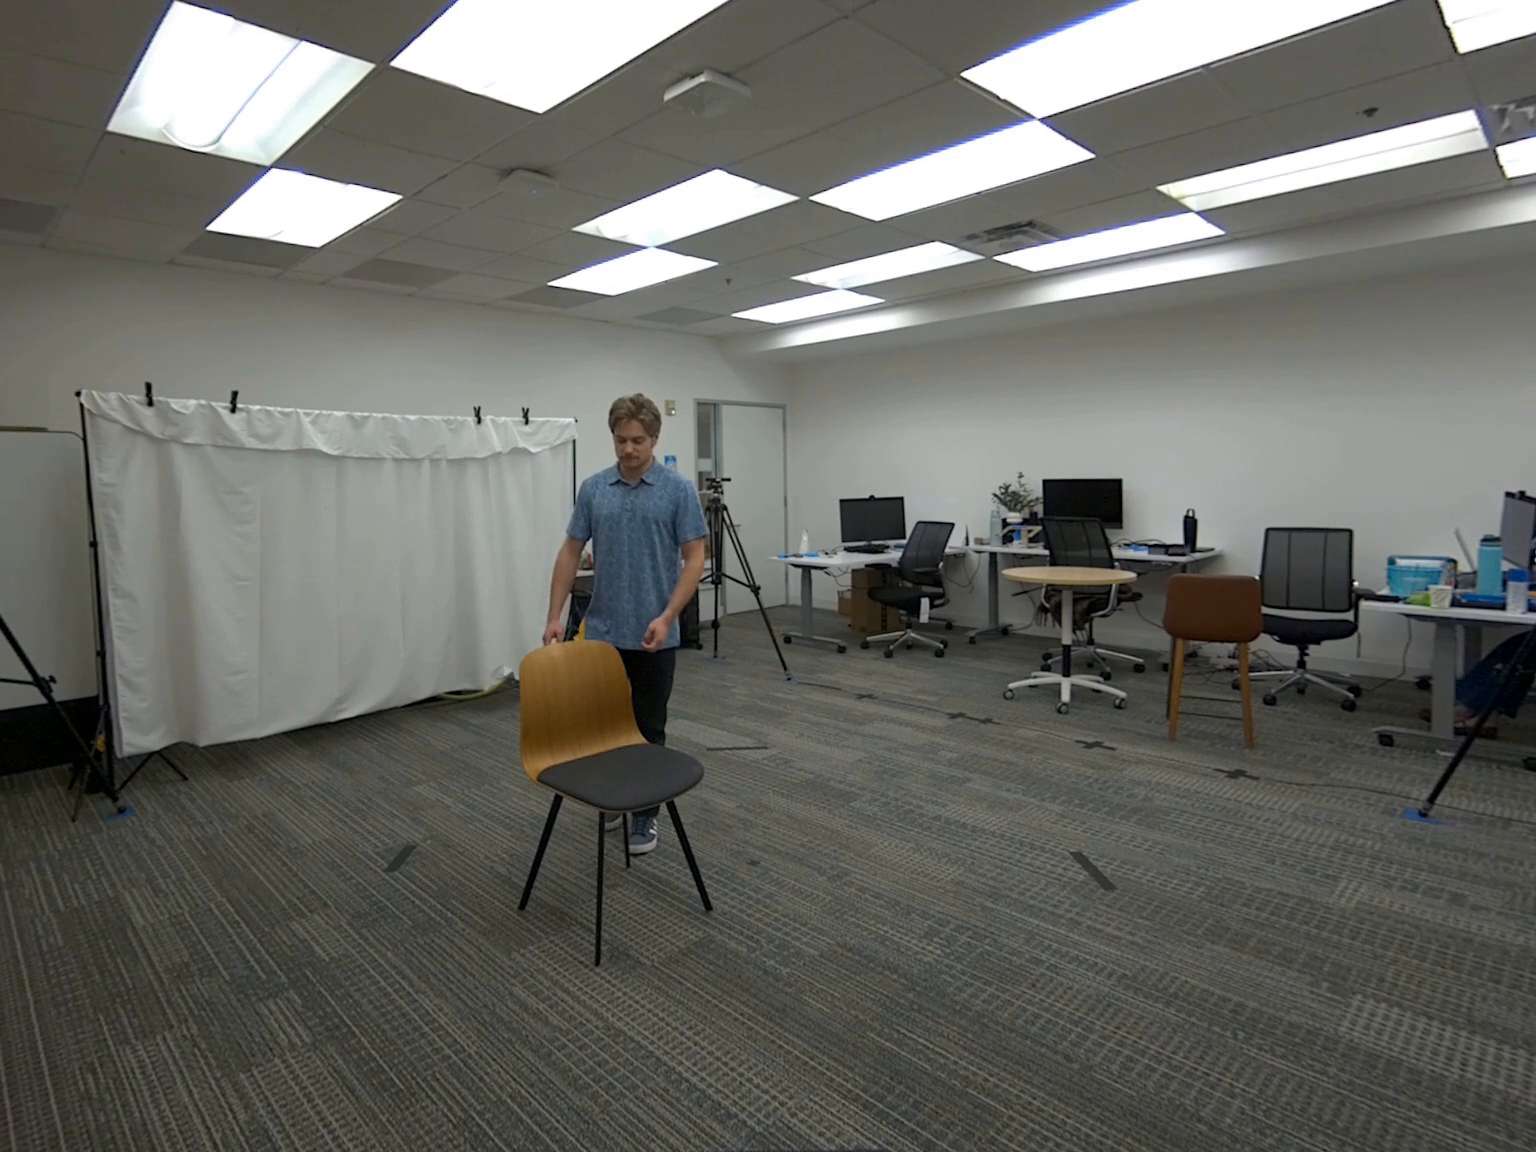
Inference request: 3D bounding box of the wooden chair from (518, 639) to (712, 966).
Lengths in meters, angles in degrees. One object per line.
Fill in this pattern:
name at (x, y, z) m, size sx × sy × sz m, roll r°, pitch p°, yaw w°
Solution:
wooden chair at (-0.499, 0.669, 2.740) m, size 0.465 × 0.877 × 0.538 m, roll -5°, pitch 2°, yaw -44°
